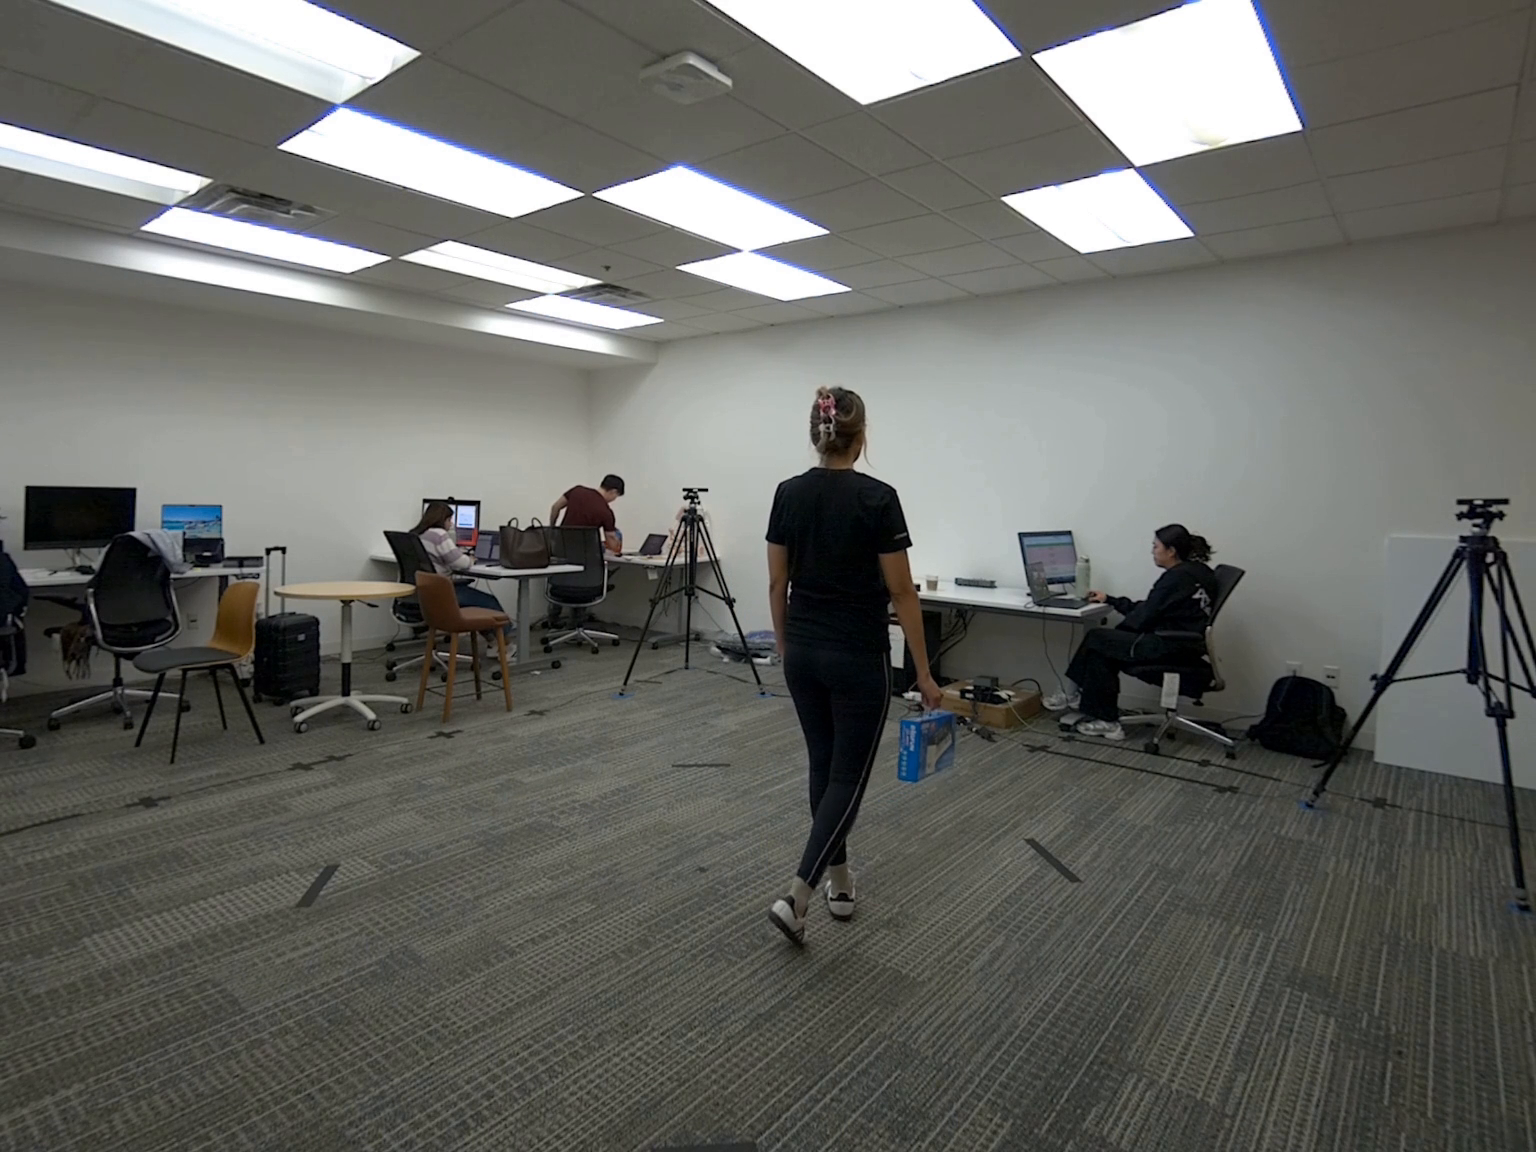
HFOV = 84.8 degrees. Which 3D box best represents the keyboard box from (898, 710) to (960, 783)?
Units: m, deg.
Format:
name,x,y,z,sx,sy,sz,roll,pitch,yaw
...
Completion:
name,x,y,z,sx,sy,sz,roll,pitch,yaw
keyboard box,0.489,0.516,2.629,0.061,0.177,0.423,1,-4,26
